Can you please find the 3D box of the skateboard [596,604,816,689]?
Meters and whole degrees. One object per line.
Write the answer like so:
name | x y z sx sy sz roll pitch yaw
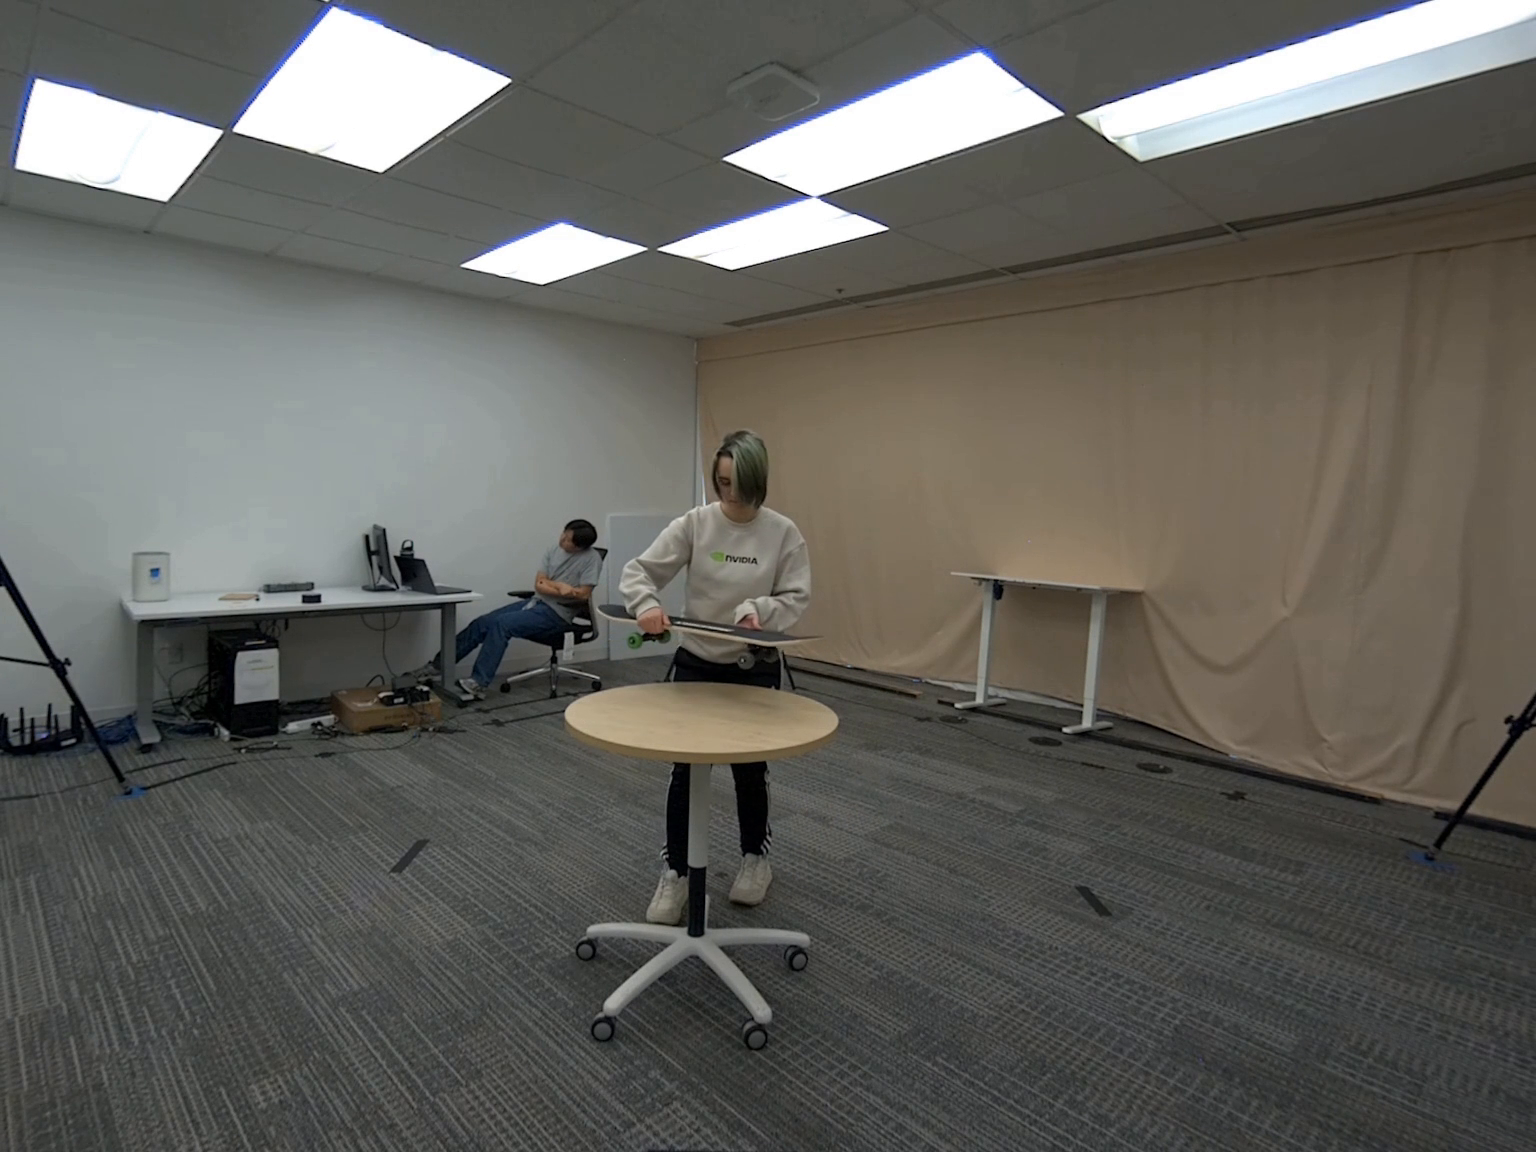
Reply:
skateboard | -0.219 0.201 2.558 0.802 0.110 0.190 5 7 28
